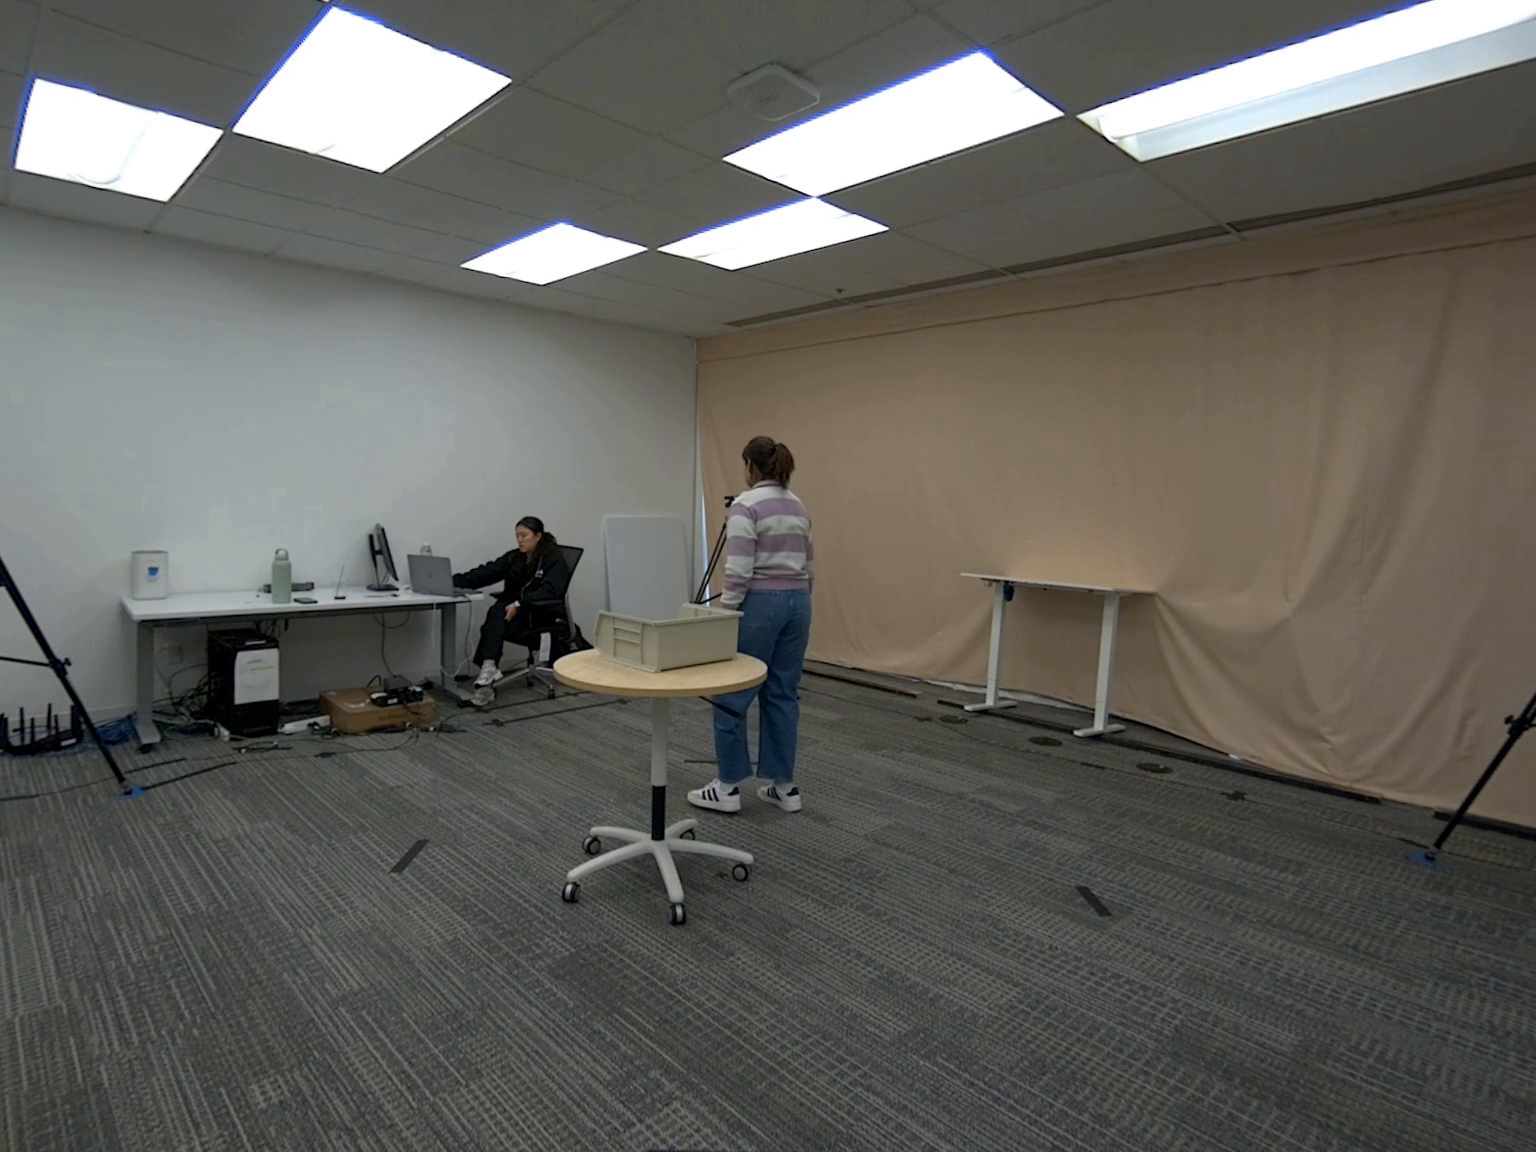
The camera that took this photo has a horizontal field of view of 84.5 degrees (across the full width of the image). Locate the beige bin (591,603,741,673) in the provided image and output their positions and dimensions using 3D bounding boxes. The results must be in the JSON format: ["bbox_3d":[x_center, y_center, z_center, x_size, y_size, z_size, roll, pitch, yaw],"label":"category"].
[{"bbox_3d":[-0.379,0.222,3.148,0.413,0.188,0.387,-3,8,-45],"label":"beige bin"}]
